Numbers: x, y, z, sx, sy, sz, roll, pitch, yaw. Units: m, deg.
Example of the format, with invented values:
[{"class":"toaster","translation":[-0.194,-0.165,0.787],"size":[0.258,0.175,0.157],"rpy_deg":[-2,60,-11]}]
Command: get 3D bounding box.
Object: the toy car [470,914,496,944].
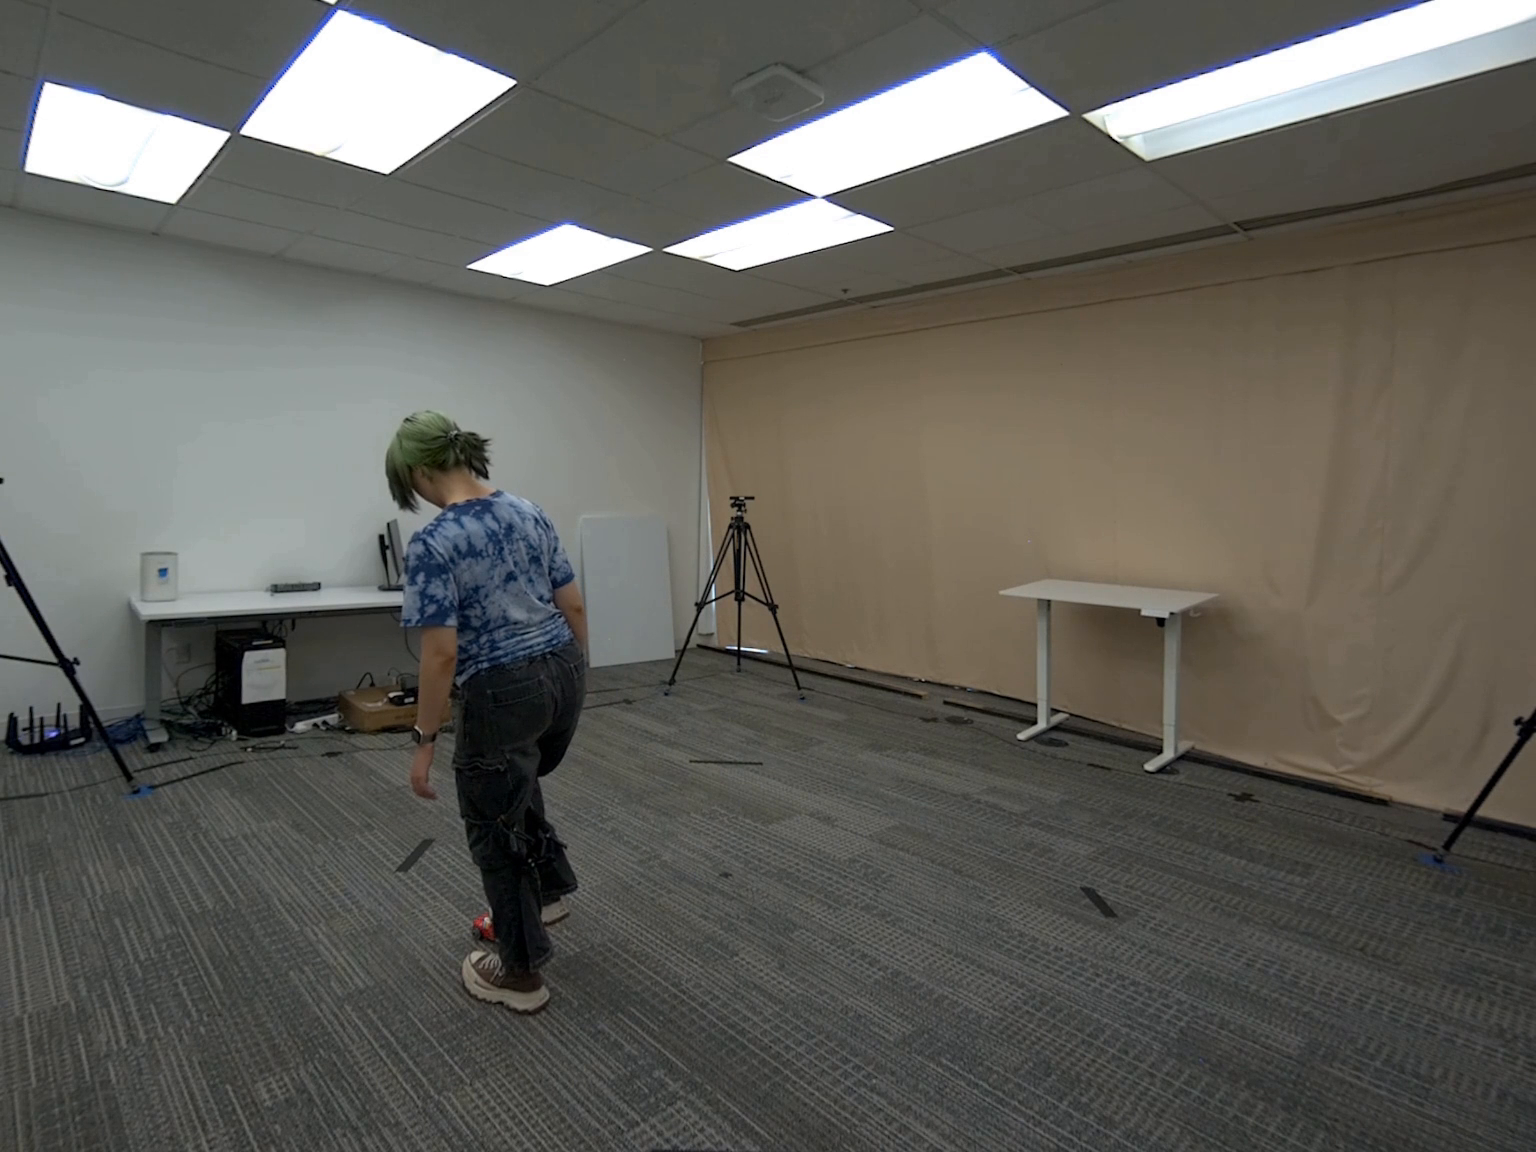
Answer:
[{"class":"toy car","translation":[-0.806,1.113,2.602],"size":[0.259,0.083,0.128],"rpy_deg":[-8,0,33]}]
